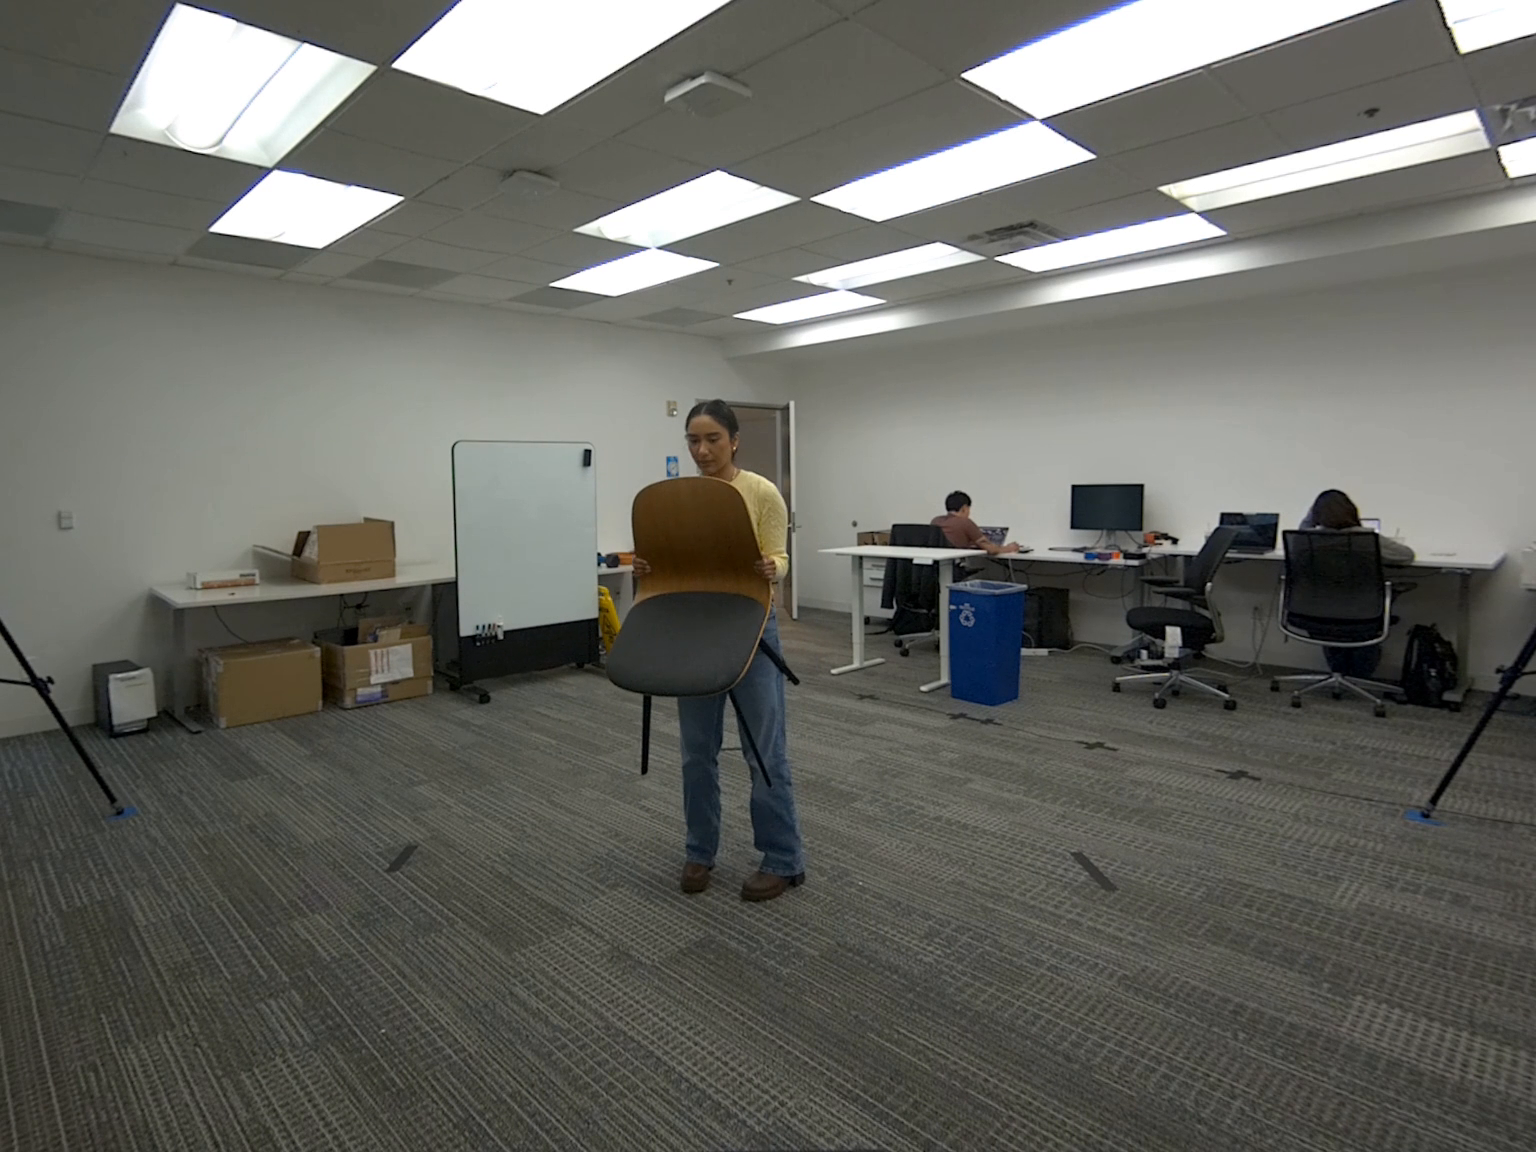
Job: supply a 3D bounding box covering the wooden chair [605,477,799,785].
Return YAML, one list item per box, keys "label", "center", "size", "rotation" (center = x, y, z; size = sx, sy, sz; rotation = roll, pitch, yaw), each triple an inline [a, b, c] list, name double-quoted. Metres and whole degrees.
- label: "wooden chair"
  center: [-0.241, 0.200, 2.685]
  size: [0.487, 0.852, 0.528]
  rotation: [1, 34, 18]
